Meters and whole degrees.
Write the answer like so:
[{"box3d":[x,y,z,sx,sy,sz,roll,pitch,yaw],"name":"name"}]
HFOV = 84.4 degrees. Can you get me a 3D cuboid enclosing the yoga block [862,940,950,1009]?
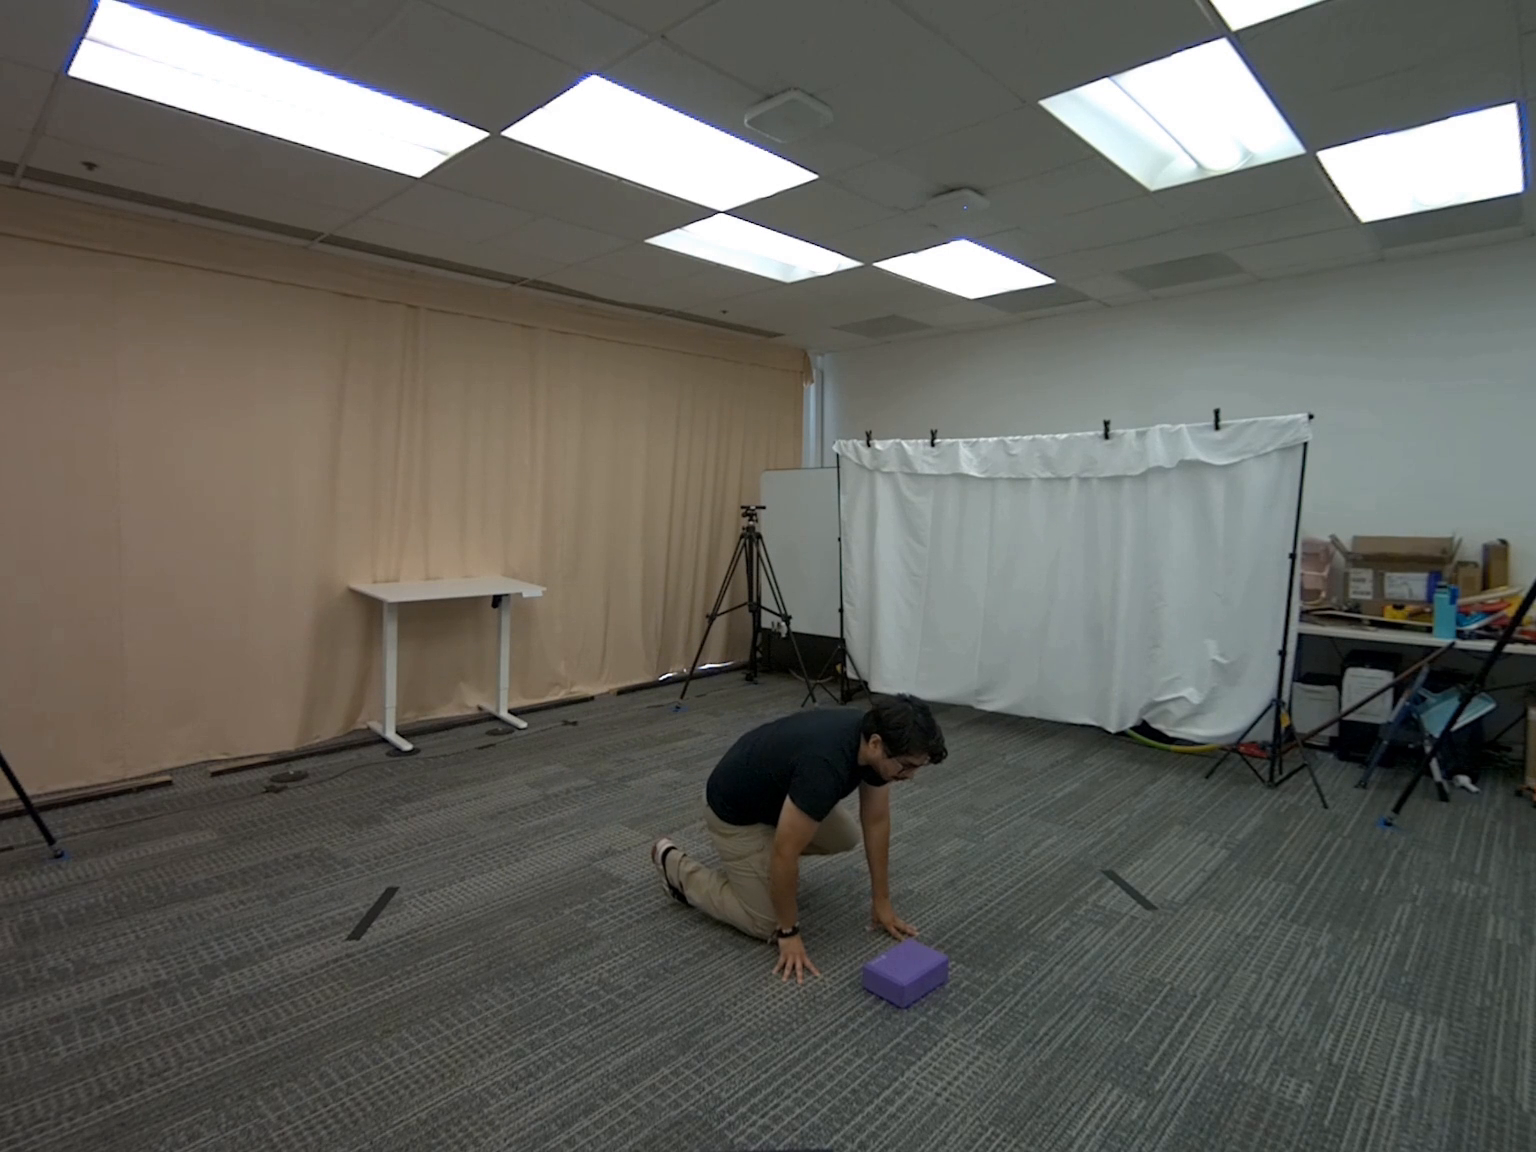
[{"box3d":[0.400,1.145,2.445,0.222,0.076,0.154,-4,7,-44],"name":"yoga block"}]
